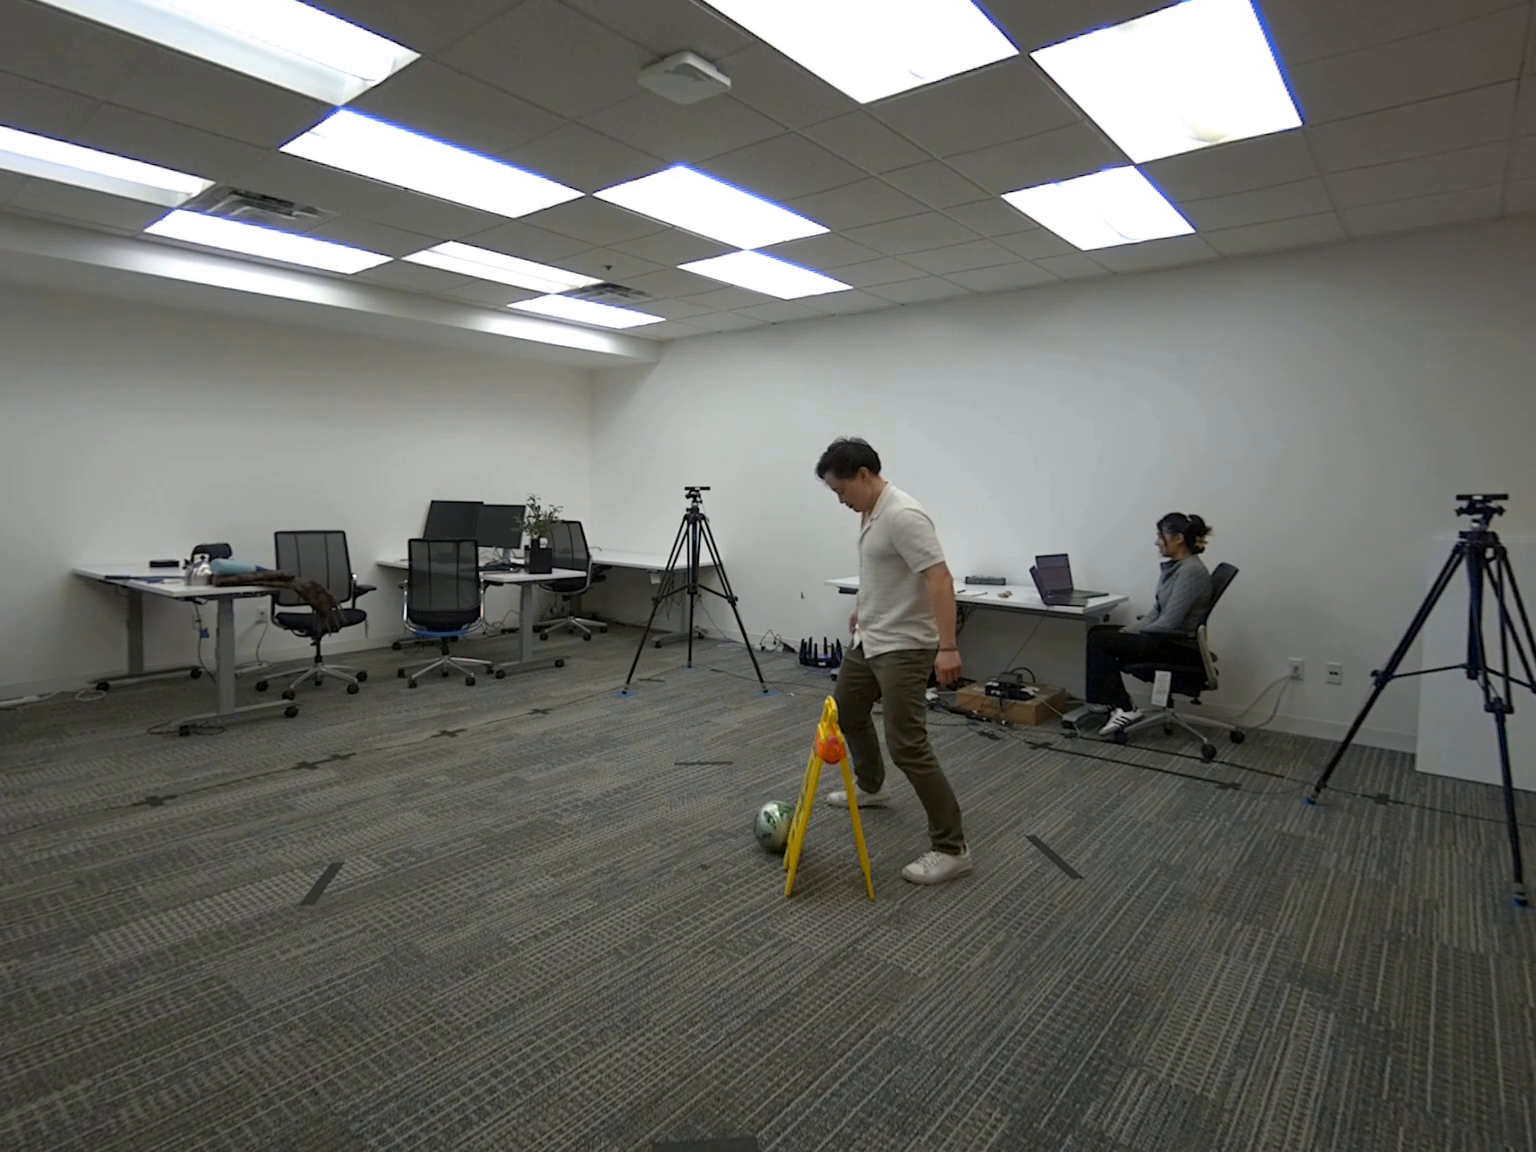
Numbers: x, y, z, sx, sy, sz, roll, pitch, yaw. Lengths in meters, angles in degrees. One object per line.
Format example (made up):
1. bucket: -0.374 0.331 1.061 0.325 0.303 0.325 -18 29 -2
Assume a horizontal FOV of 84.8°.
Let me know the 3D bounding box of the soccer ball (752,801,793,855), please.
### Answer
1. soccer ball: 0.025 0.955 3.274 0.187 0.187 0.188 0 4 -2
